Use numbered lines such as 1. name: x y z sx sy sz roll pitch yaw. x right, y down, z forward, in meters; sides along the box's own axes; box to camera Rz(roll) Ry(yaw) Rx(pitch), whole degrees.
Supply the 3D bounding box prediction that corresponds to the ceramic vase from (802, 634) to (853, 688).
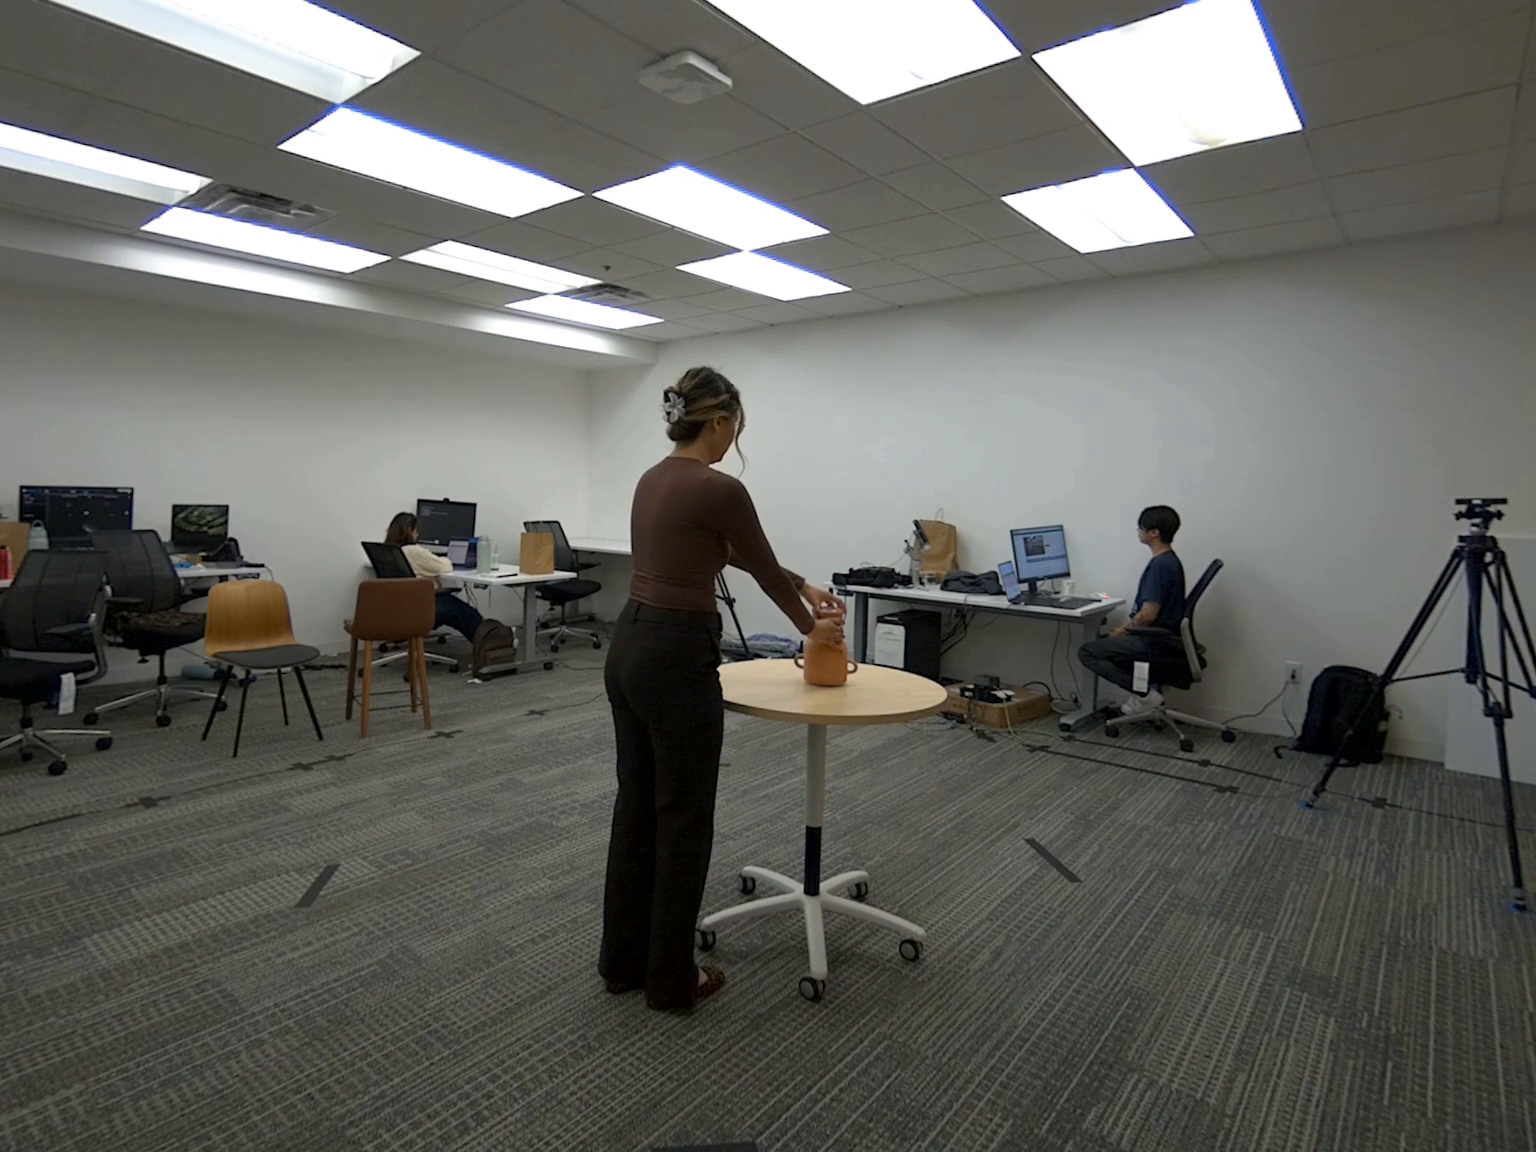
1. ceramic vase: 0.173 0.210 2.618 0.155 0.218 0.139 -2 9 -24
